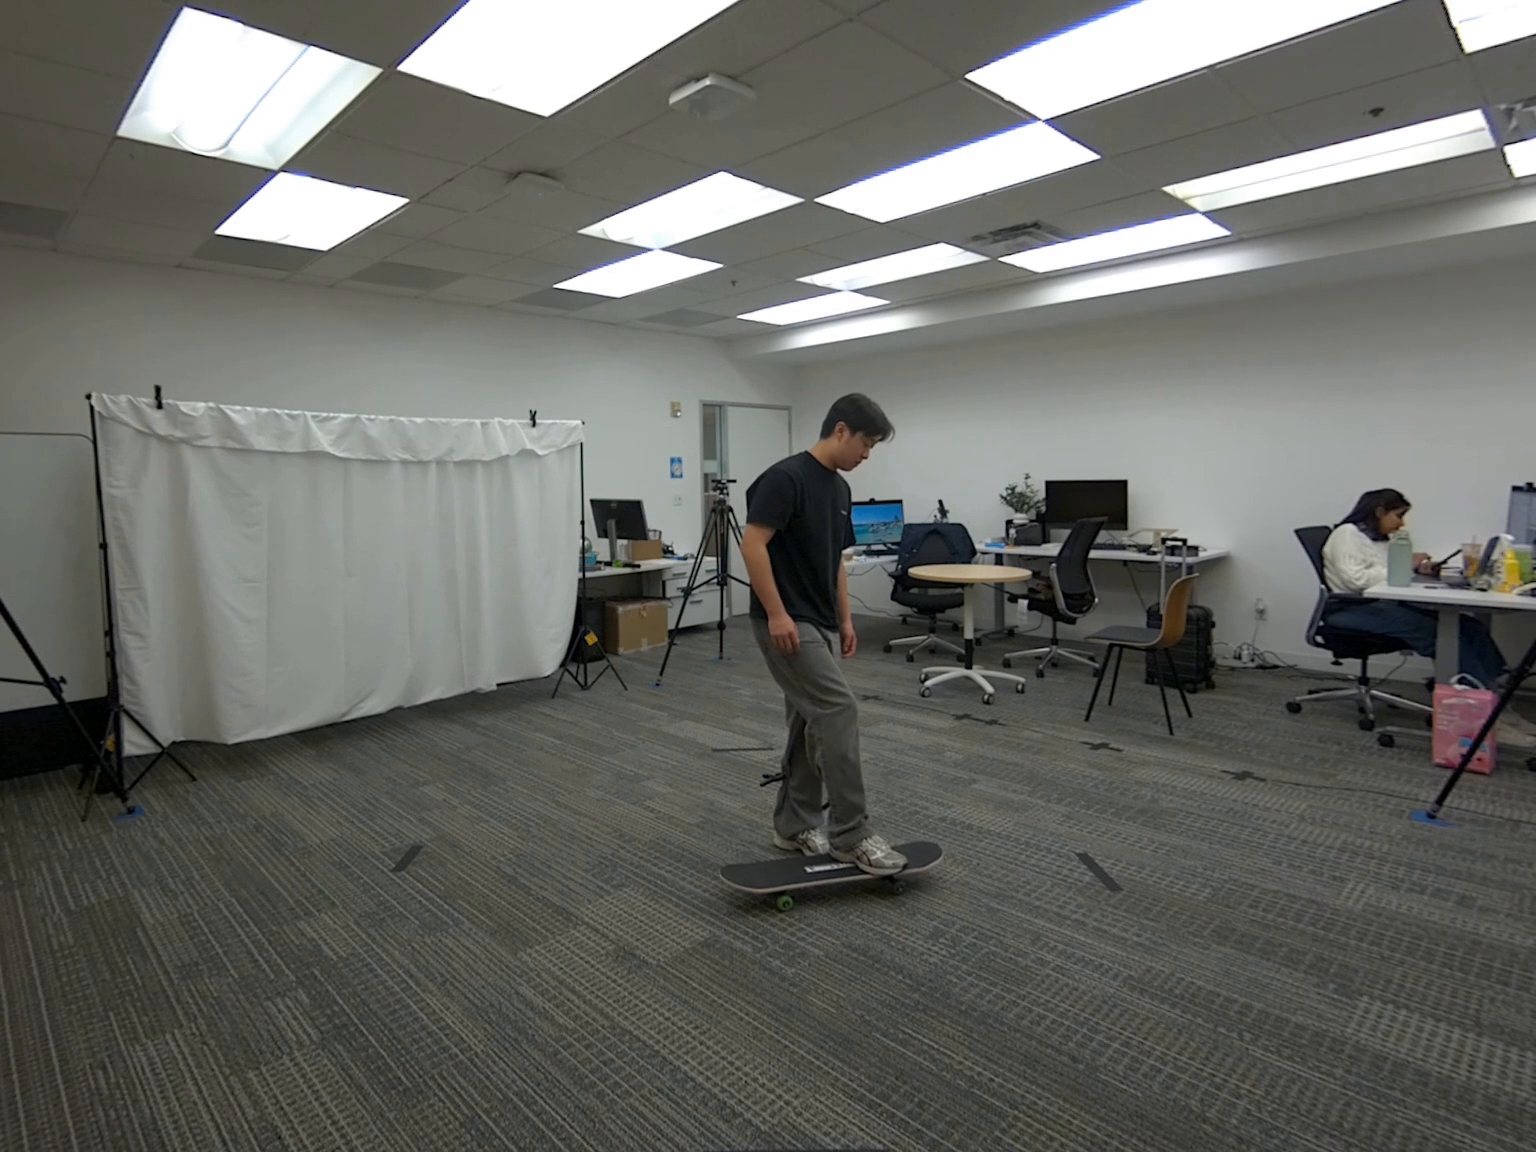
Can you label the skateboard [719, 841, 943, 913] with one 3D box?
[{"bbox_3d":[0.223,1.012,2.881,0.776,0.110,0.197,-2,6,-13],"label":"skateboard"}]
